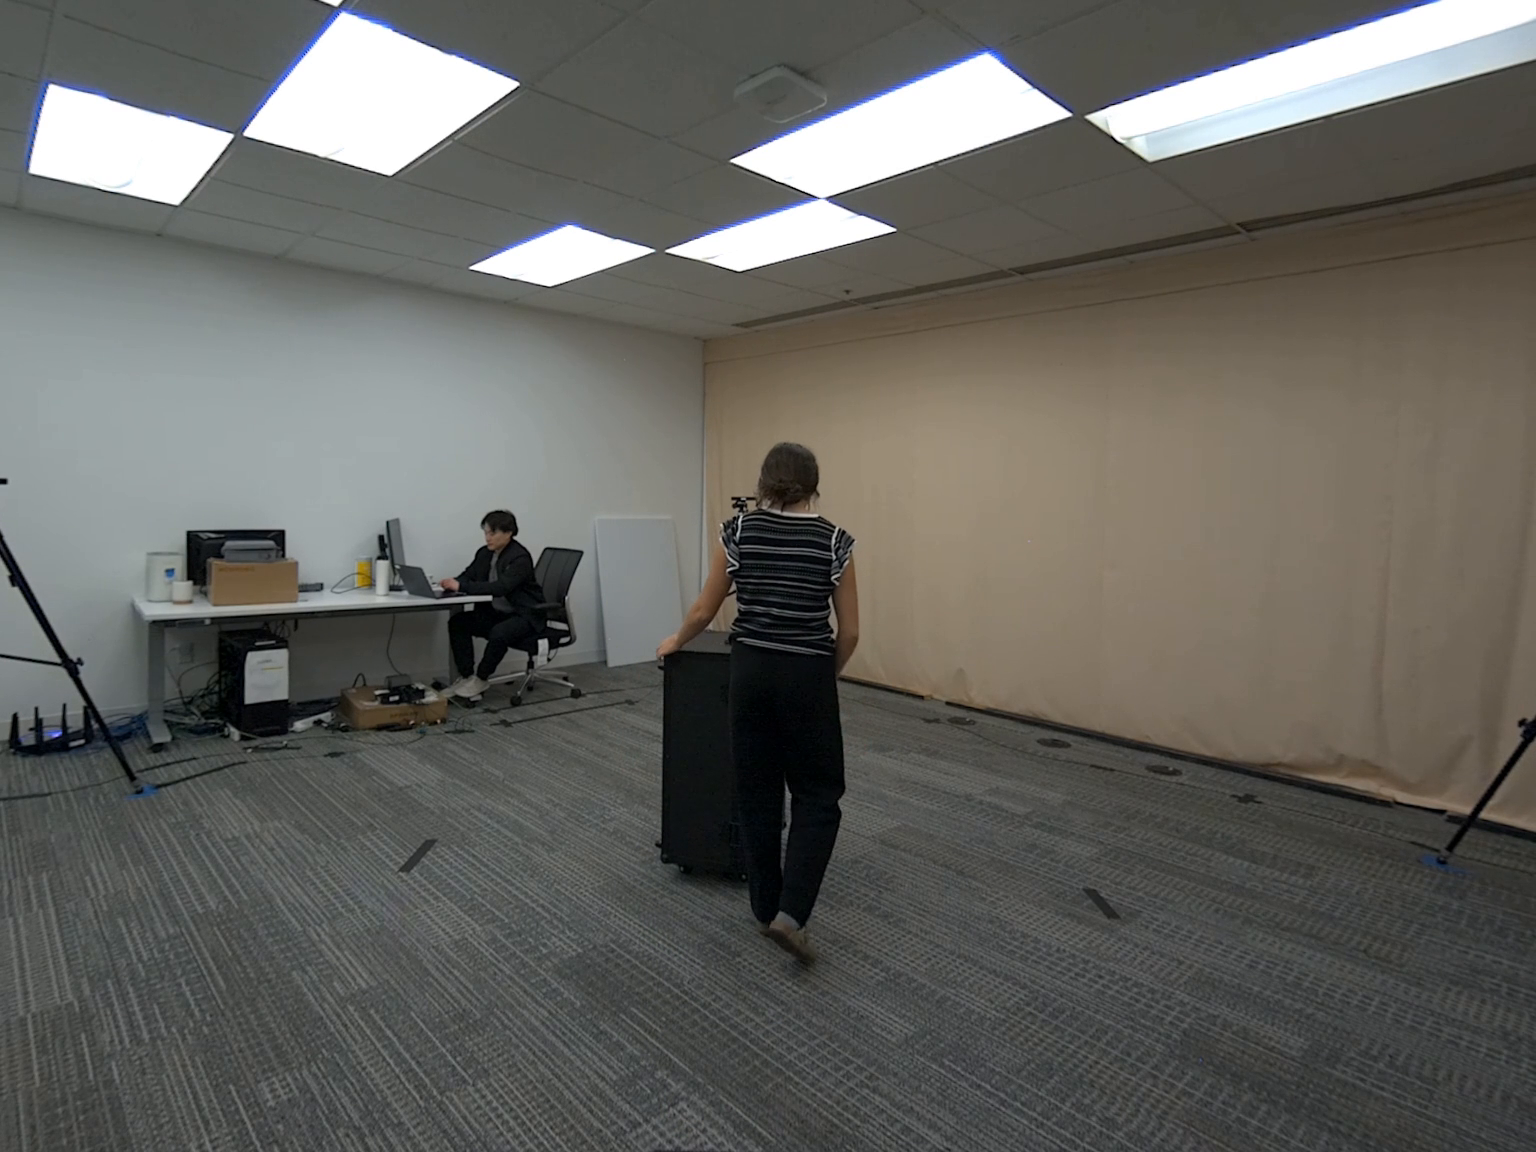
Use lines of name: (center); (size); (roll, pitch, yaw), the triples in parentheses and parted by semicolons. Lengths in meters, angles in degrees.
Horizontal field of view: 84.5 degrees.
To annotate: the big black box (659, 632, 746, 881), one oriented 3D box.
big black box: (-0.178, 0.674, 3.206); (0.401, 0.859, 0.516); (1, 3, 14)
